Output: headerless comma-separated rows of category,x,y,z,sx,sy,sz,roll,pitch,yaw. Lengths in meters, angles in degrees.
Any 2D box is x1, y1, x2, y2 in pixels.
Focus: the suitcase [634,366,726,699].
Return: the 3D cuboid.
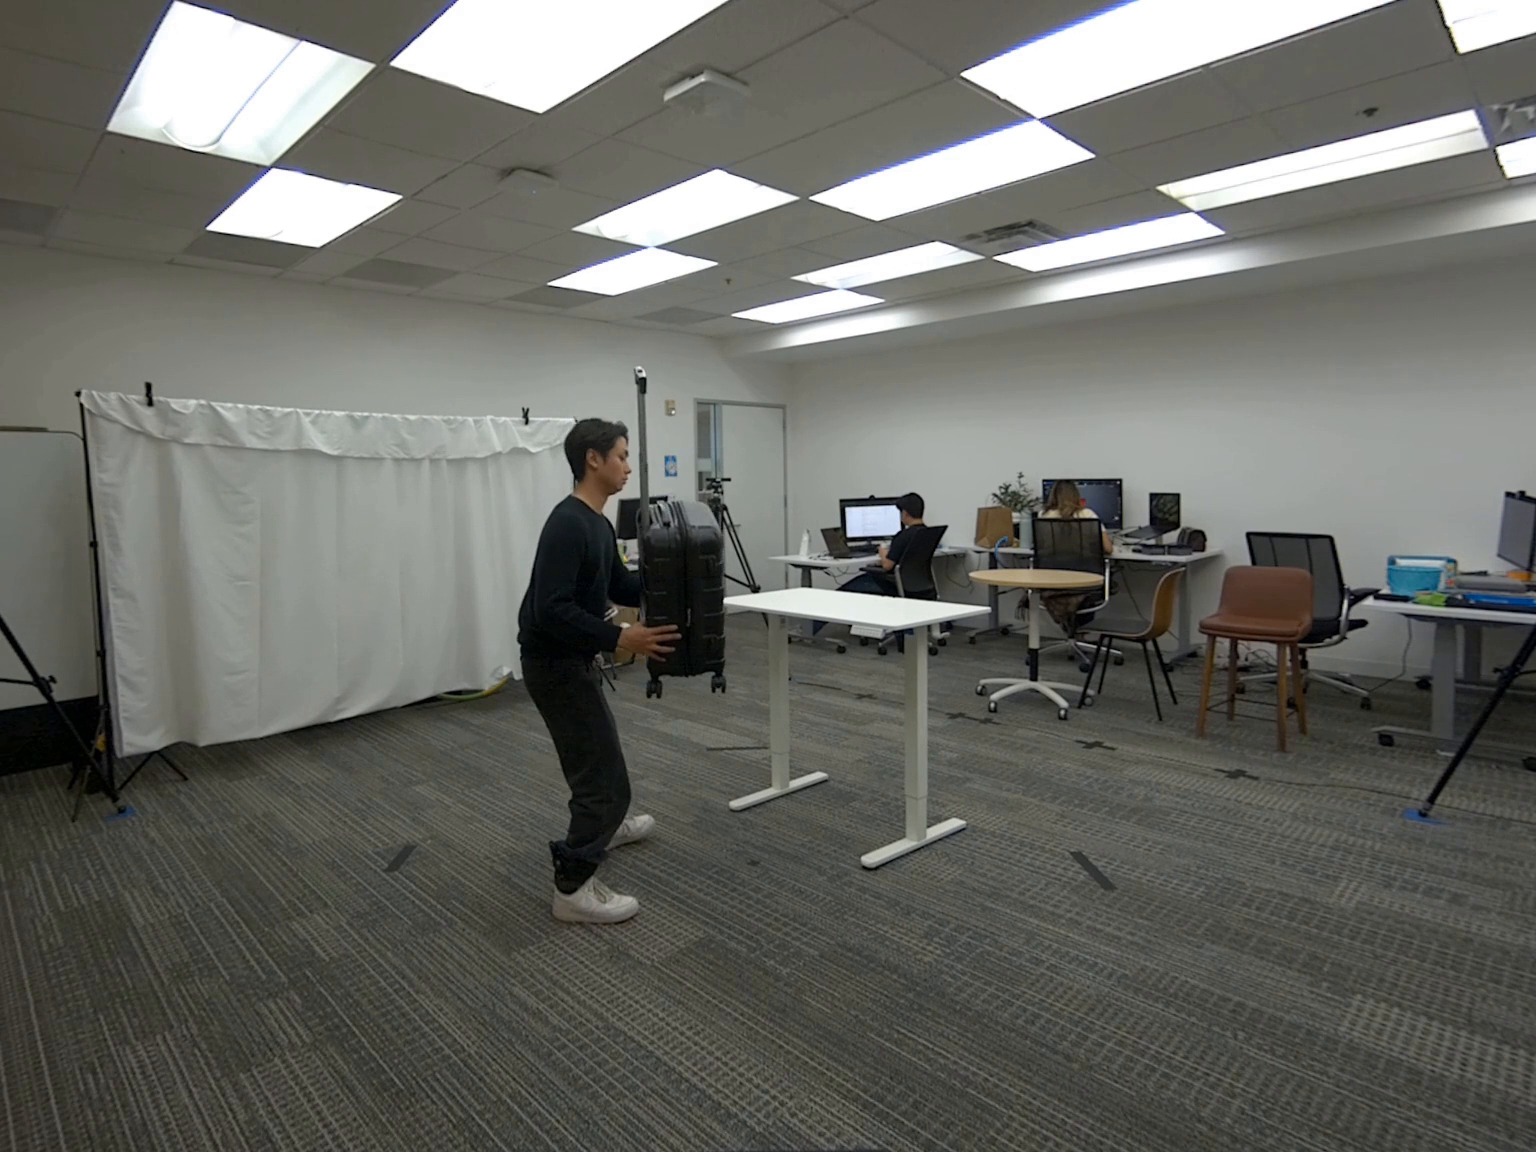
suitcase,-0.273,-0.140,2.660,0.255,0.962,0.393,-2,19,-9
